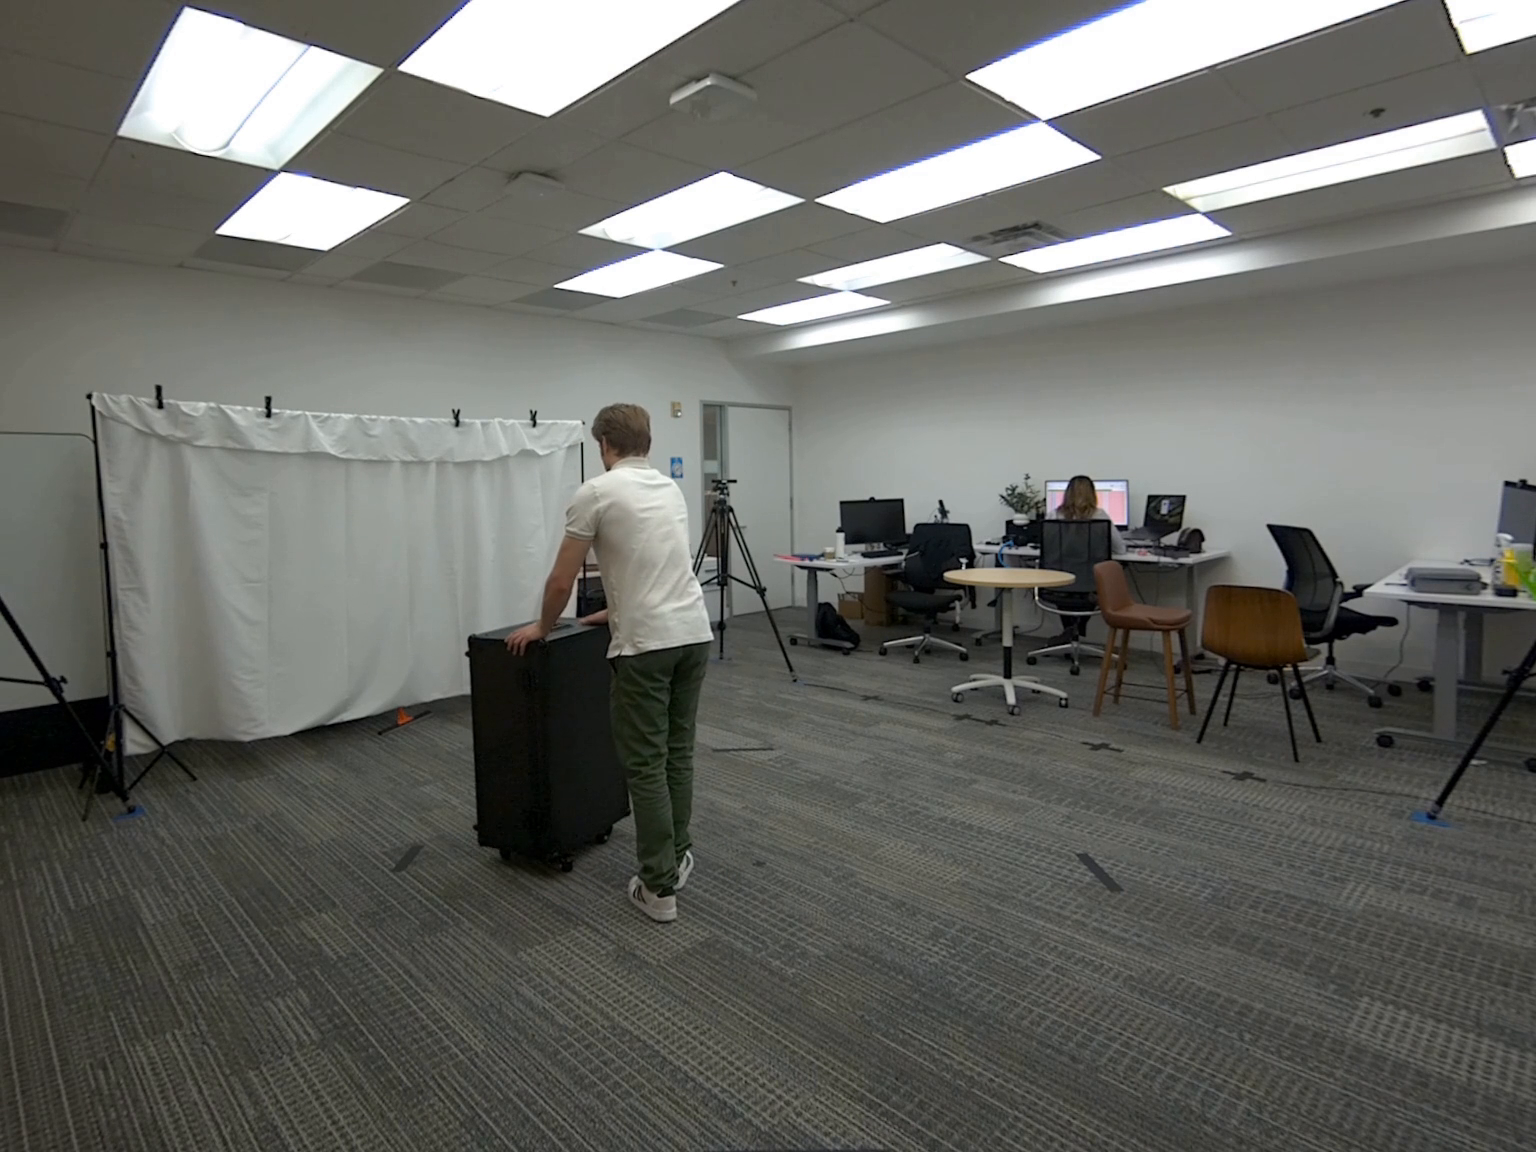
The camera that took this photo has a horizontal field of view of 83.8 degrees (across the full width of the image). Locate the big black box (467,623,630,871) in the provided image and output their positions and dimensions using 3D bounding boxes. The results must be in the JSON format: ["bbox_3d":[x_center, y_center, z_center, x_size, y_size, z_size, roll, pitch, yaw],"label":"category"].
[{"bbox_3d":[-0.832,0.621,3.266,0.394,0.866,0.512,1,4,26],"label":"big black box"}]
